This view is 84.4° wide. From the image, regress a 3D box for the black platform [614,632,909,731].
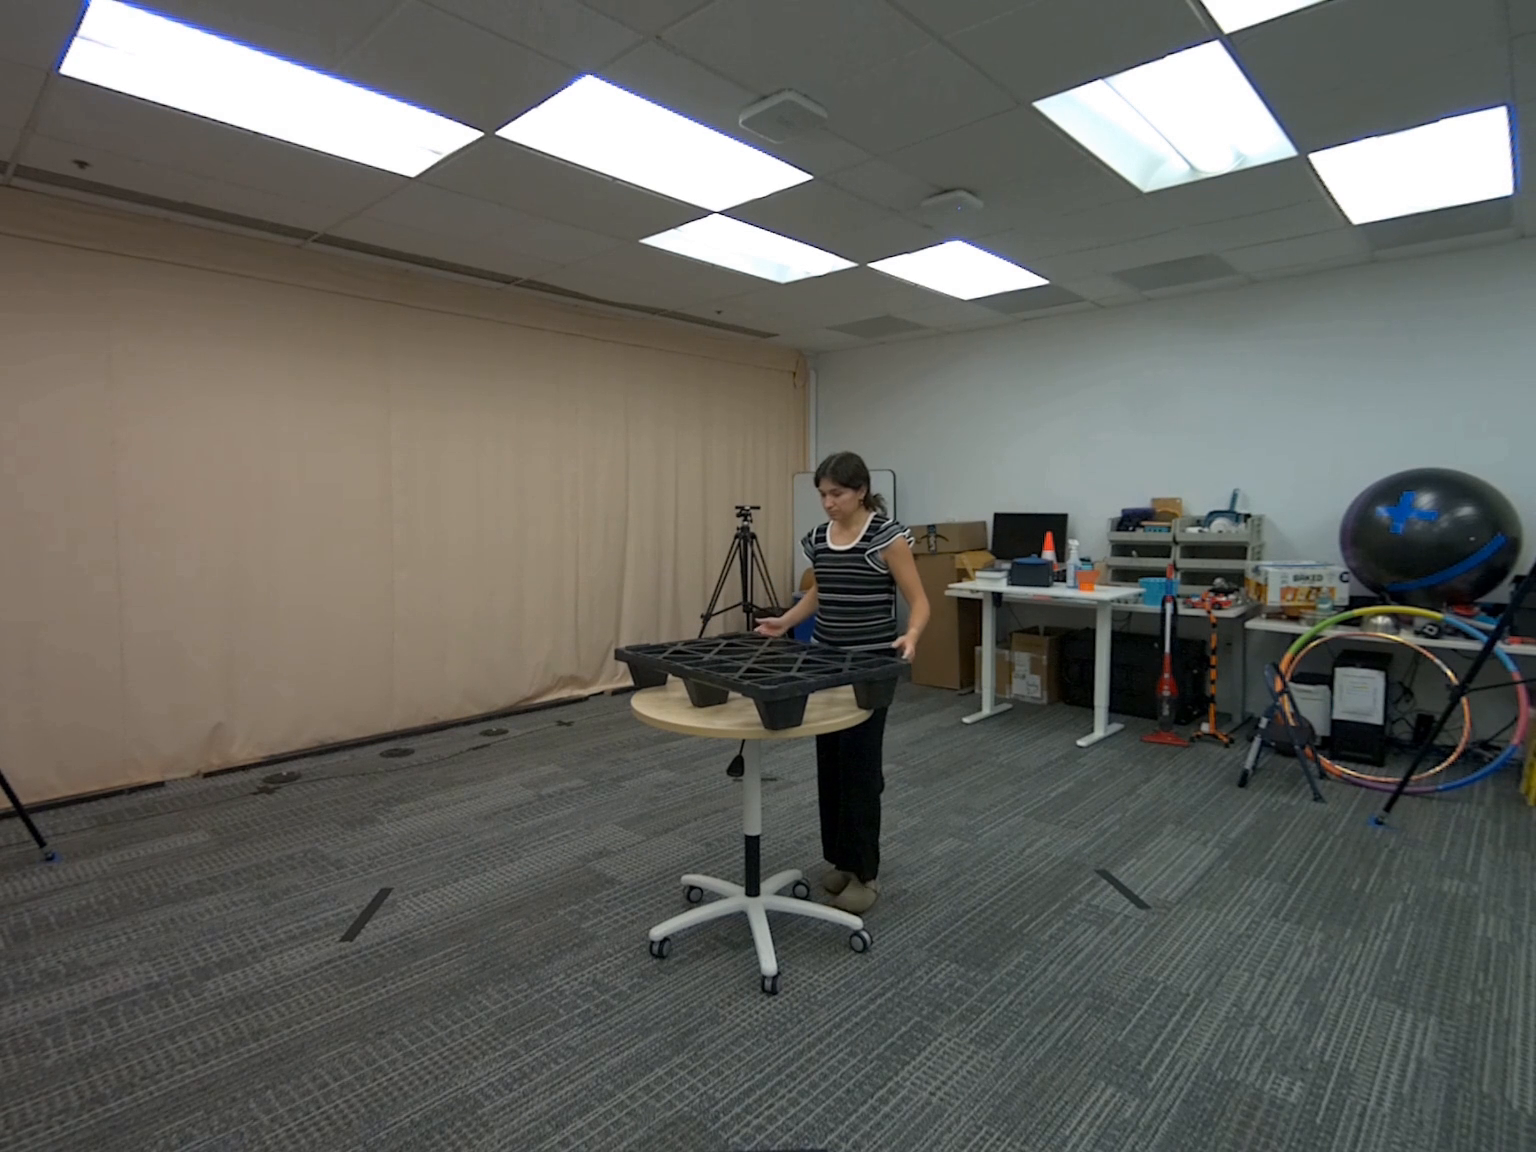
[{"bbox_3d":[-0.035,0.321,2.695,0.587,0.143,0.832,-5,7,-39],"label":"black platform"}]
